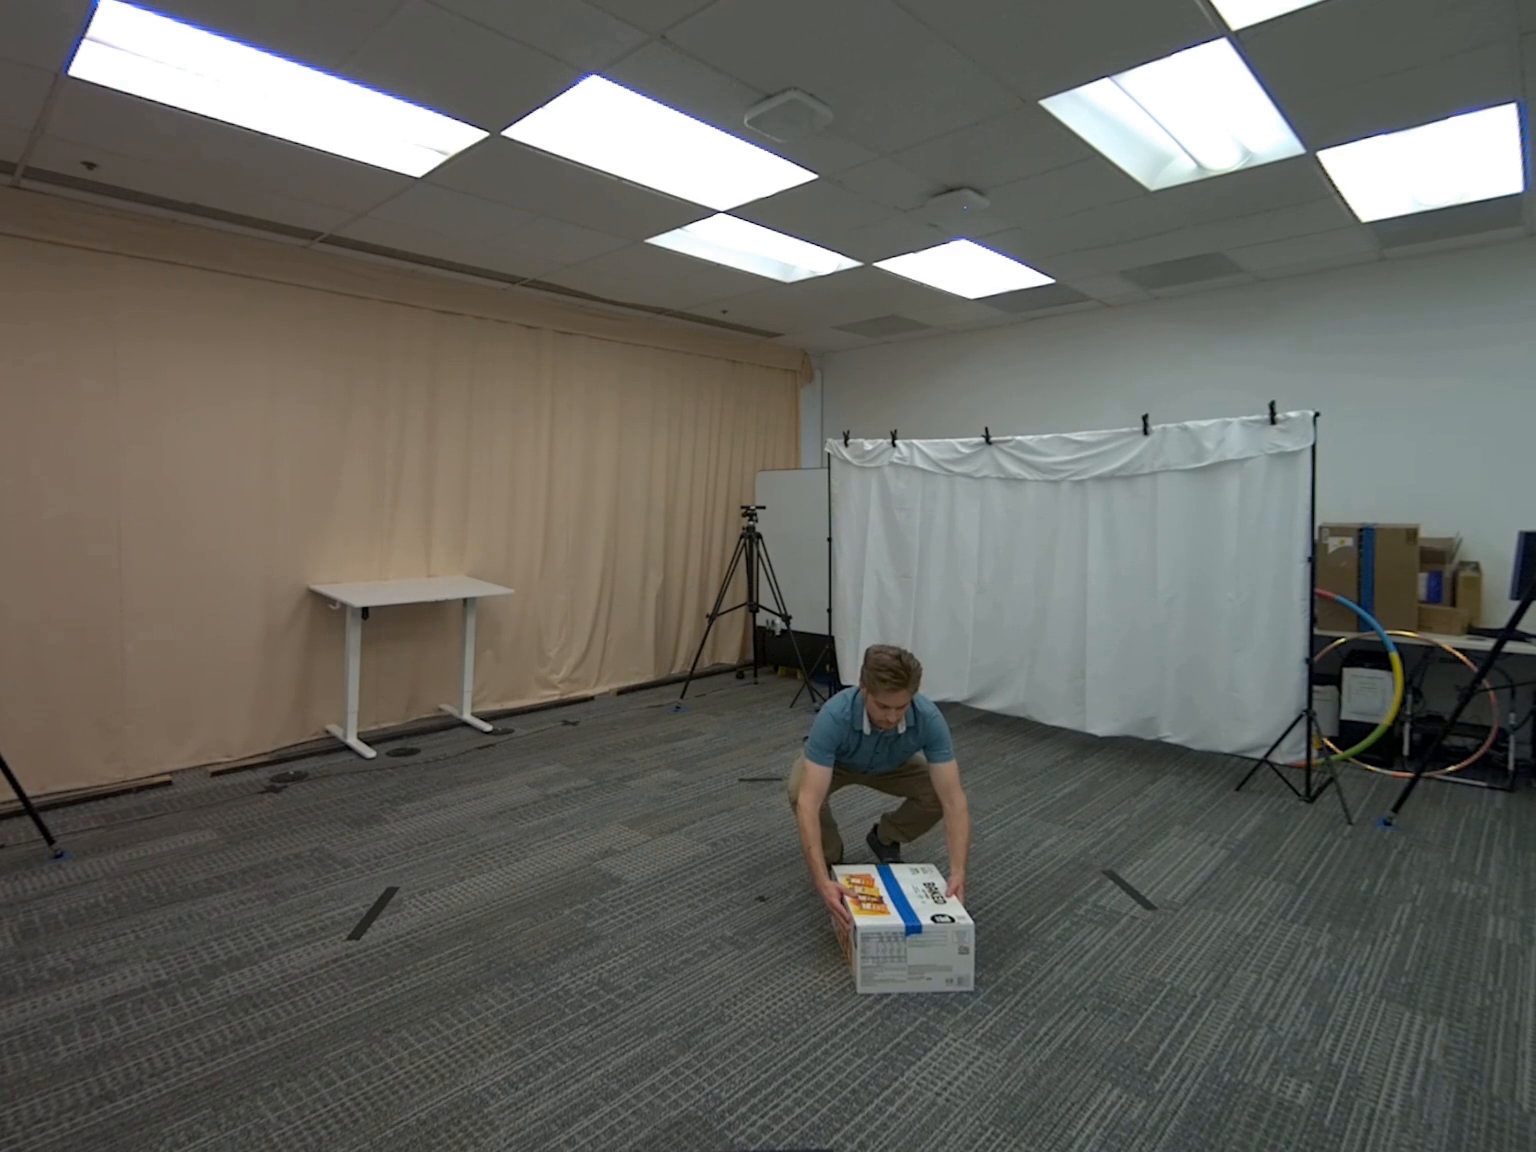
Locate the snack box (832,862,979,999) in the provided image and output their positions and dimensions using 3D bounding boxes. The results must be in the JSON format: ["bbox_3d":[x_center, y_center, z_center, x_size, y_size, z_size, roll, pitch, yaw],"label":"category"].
[{"bbox_3d":[0.400,1.065,2.585,0.339,0.205,0.408,-1,4,-5],"label":"snack box"}]
